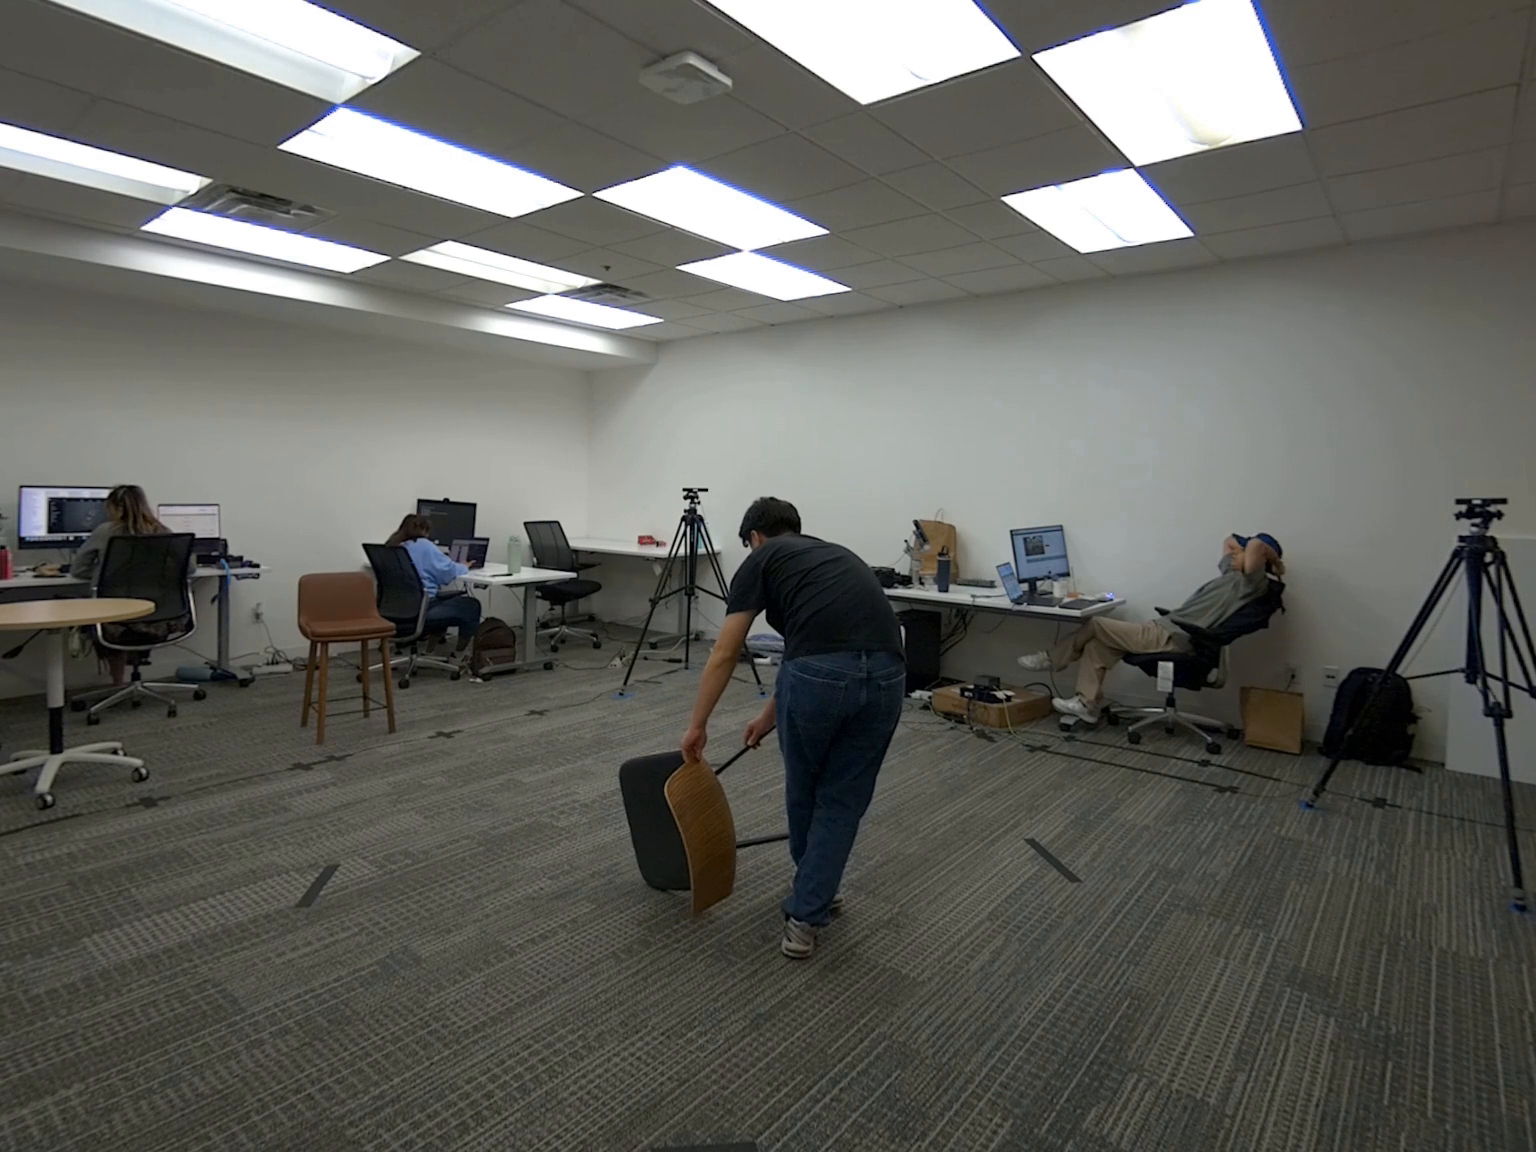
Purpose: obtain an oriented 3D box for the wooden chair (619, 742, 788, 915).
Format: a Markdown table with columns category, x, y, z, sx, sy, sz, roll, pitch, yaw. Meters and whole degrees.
| category | x | y | z | sx | sy | sz | roll | pitch | yaw |
| --- | --- | --- | --- | --- | --- | --- | --- | --- | --- |
| wooden chair | -0.280 | 0.826 | 2.921 | 0.533 | 0.480 | 0.859 | -15 | -1 | 26 |
